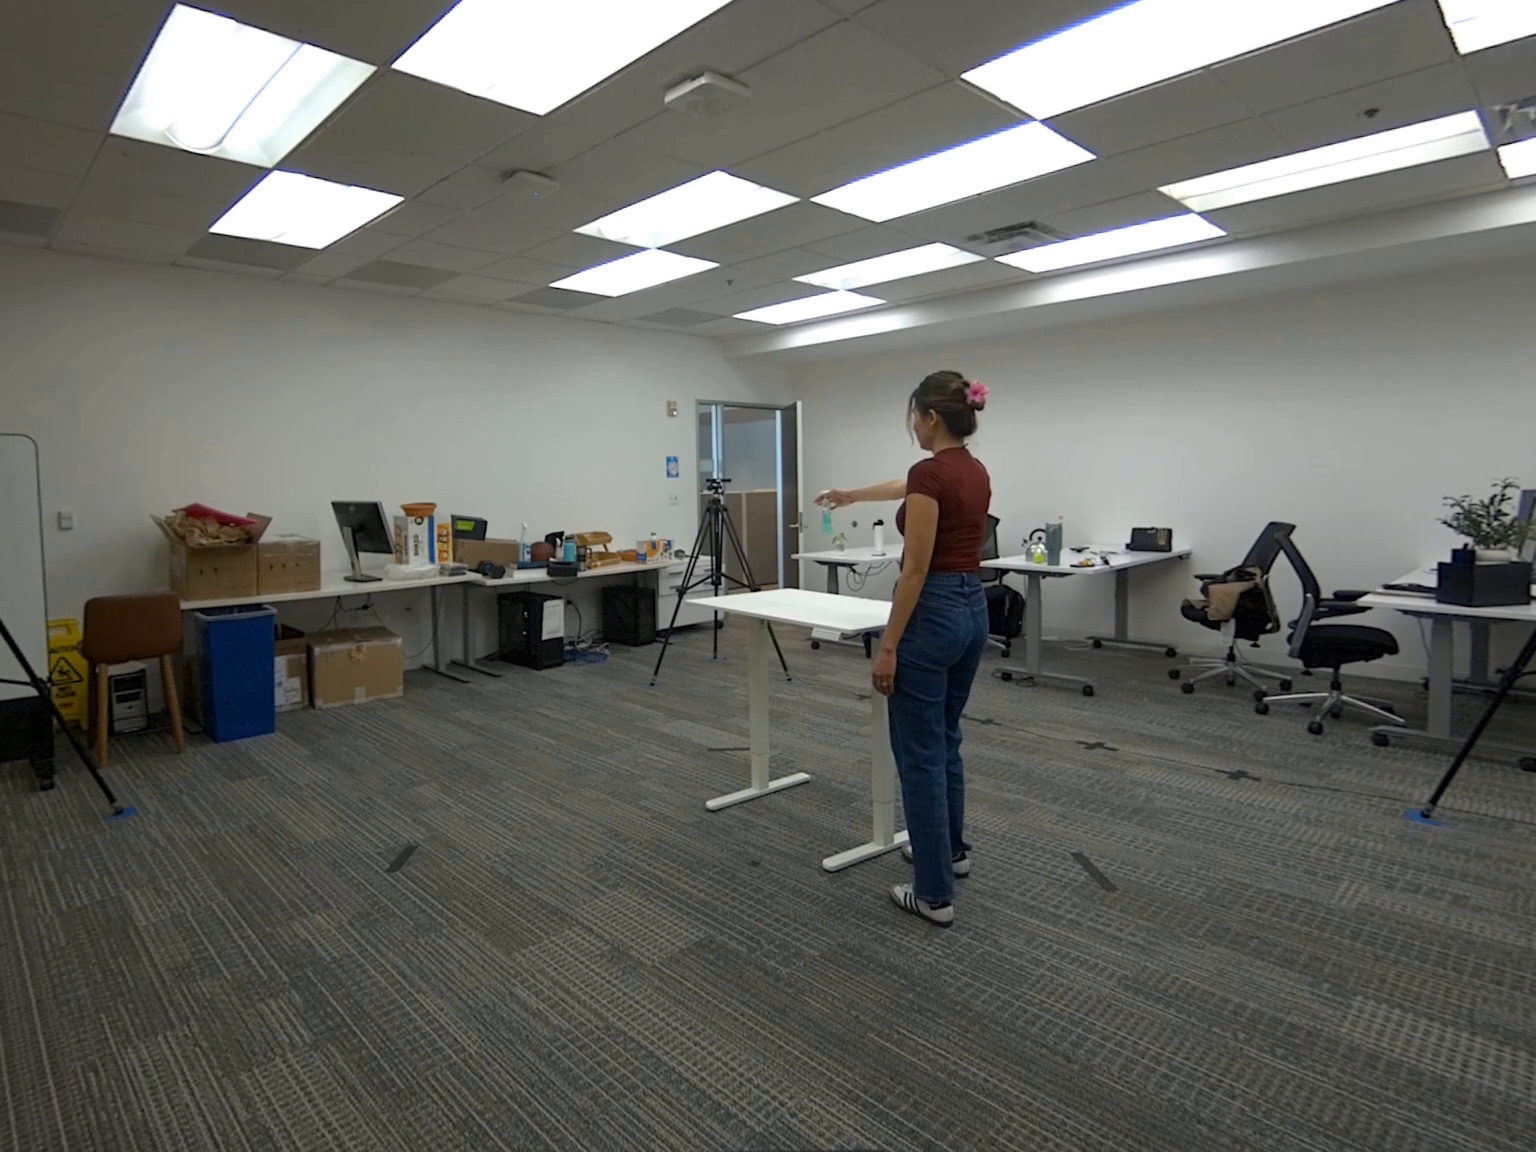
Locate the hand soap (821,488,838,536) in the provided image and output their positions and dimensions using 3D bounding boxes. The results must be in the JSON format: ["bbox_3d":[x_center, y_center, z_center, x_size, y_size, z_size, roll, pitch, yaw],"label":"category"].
[{"bbox_3d":[0.242,-0.255,3.387,0.044,0.166,0.085,-6,11,8],"label":"hand soap"}]
